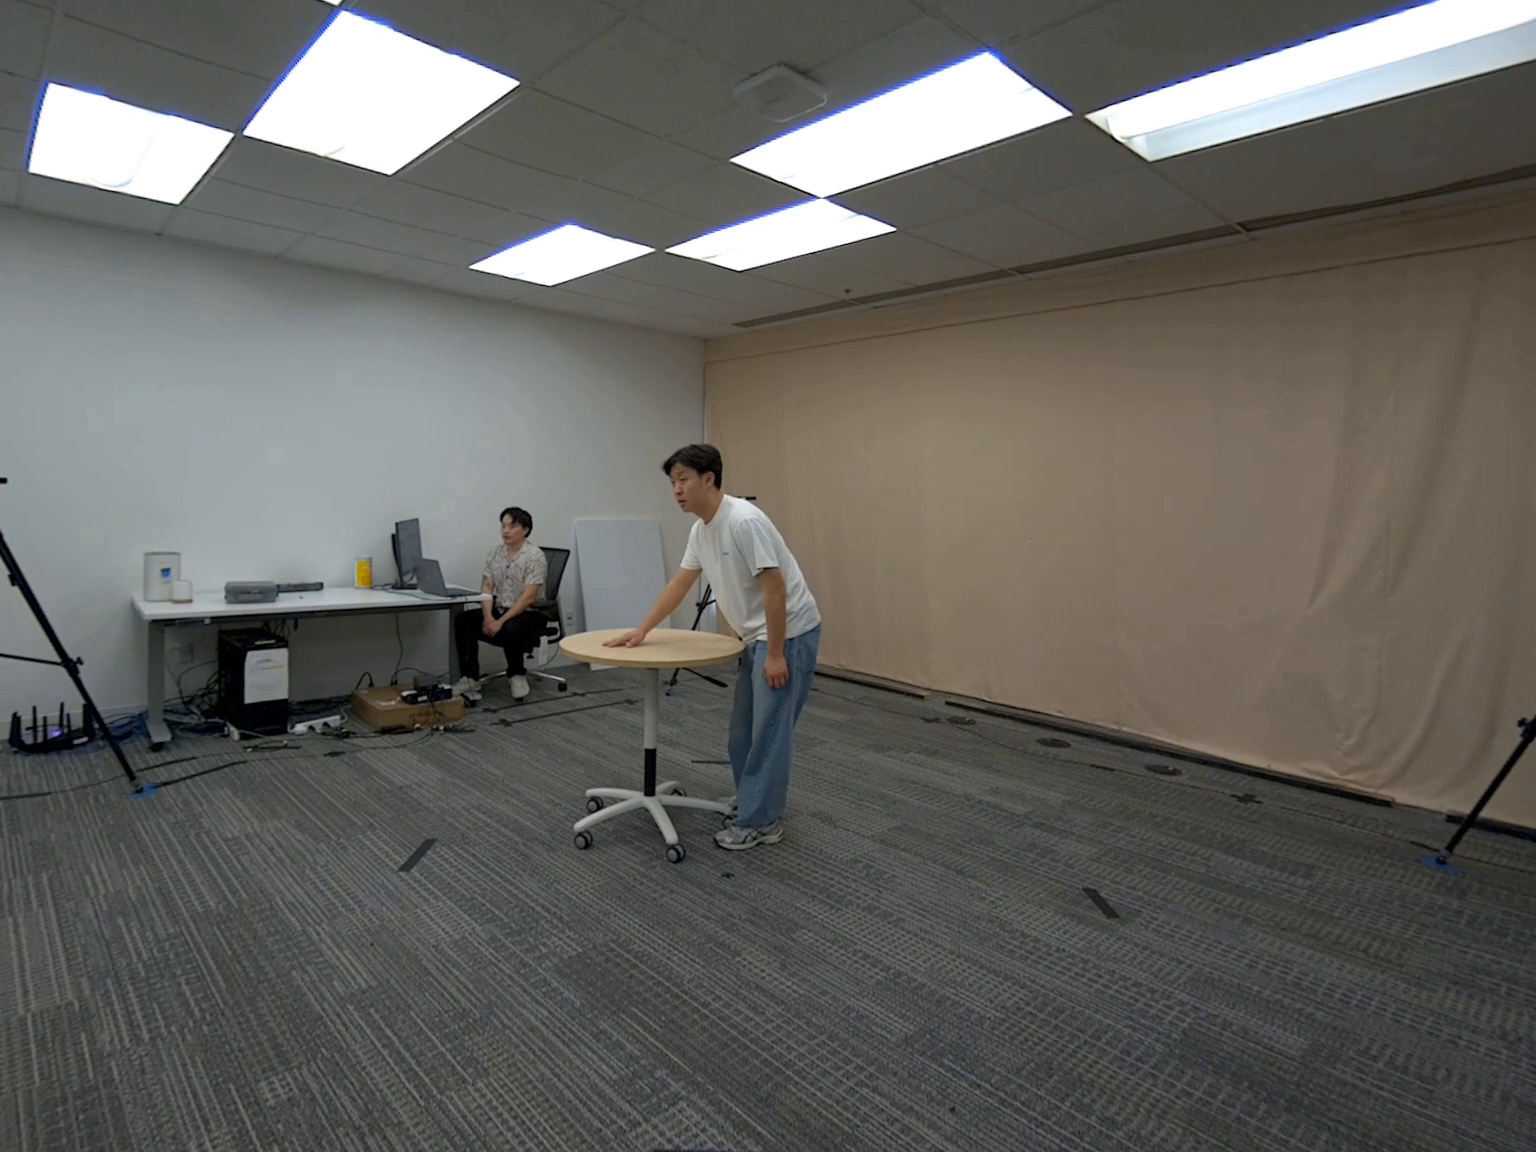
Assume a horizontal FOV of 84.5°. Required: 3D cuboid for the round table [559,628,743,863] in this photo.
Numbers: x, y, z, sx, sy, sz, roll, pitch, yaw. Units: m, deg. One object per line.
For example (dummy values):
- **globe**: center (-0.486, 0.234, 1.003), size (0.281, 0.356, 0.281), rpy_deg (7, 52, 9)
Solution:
- **round table**: center (-0.495, 0.670, 3.507), size (0.763, 0.792, 0.766), rpy_deg (1, 4, -1)
